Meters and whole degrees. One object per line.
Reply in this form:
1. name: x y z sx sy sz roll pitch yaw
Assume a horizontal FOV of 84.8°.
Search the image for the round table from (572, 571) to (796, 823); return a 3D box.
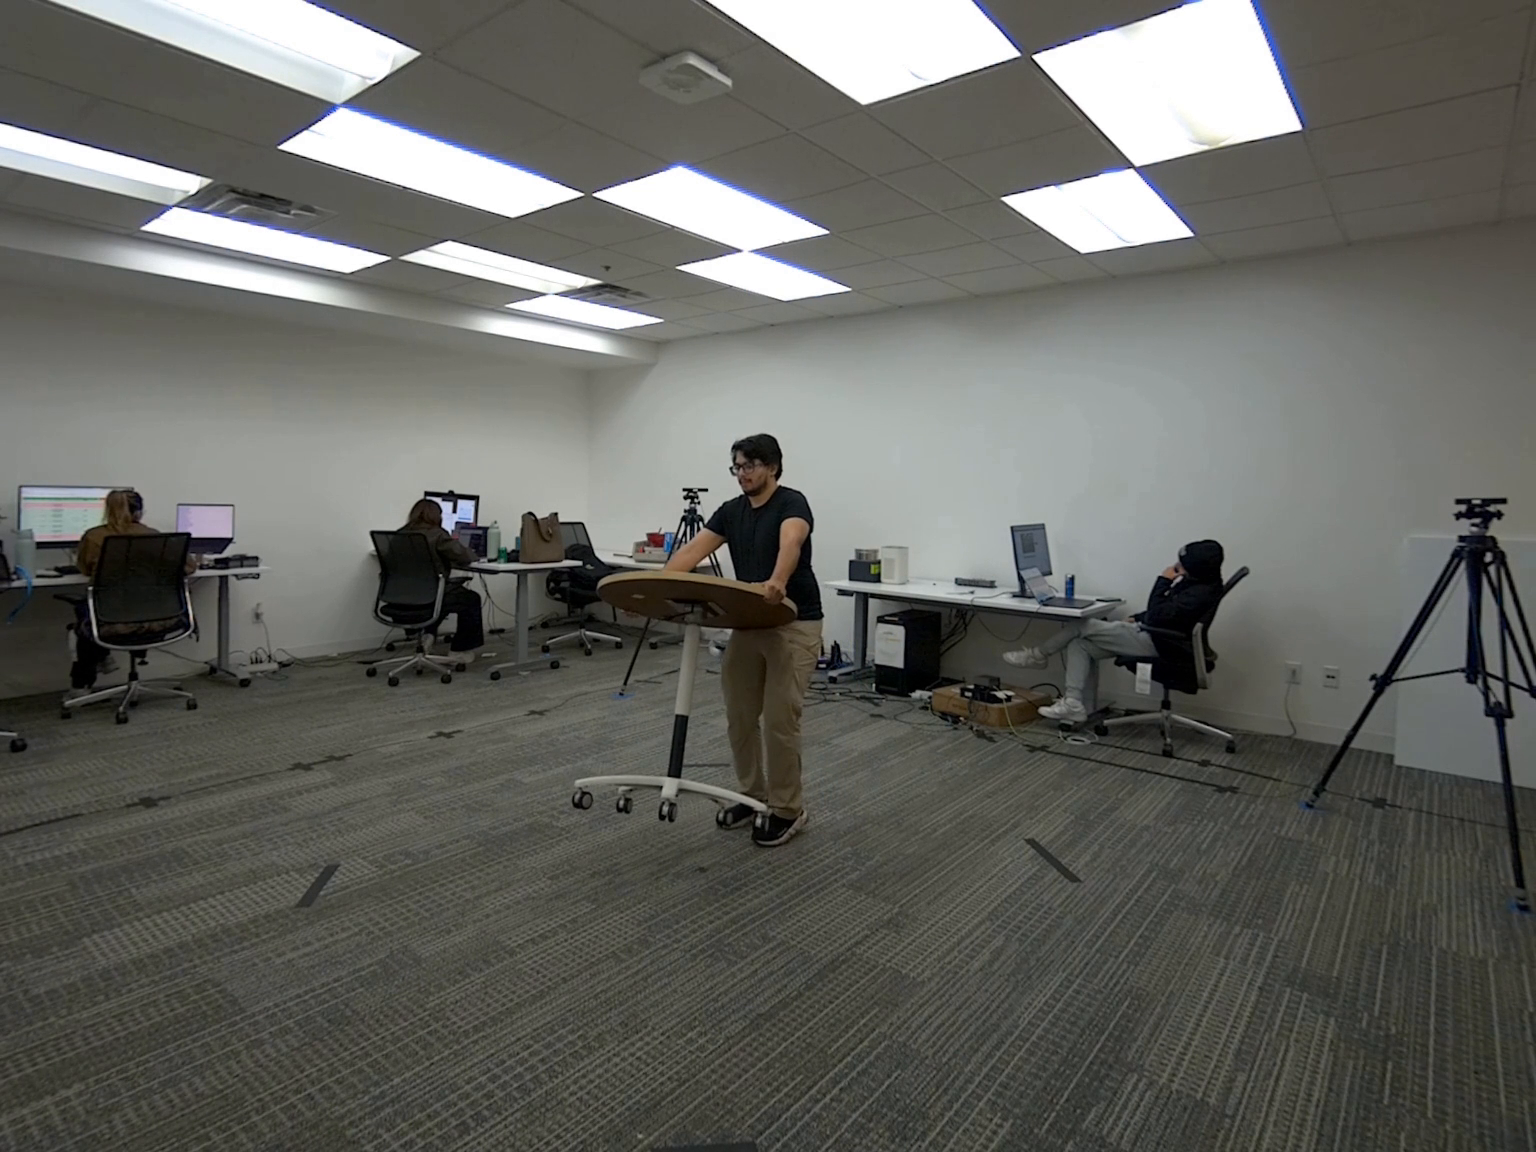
1. round table: -0.309 0.476 3.116 0.786 0.797 0.774 6 -16 0
